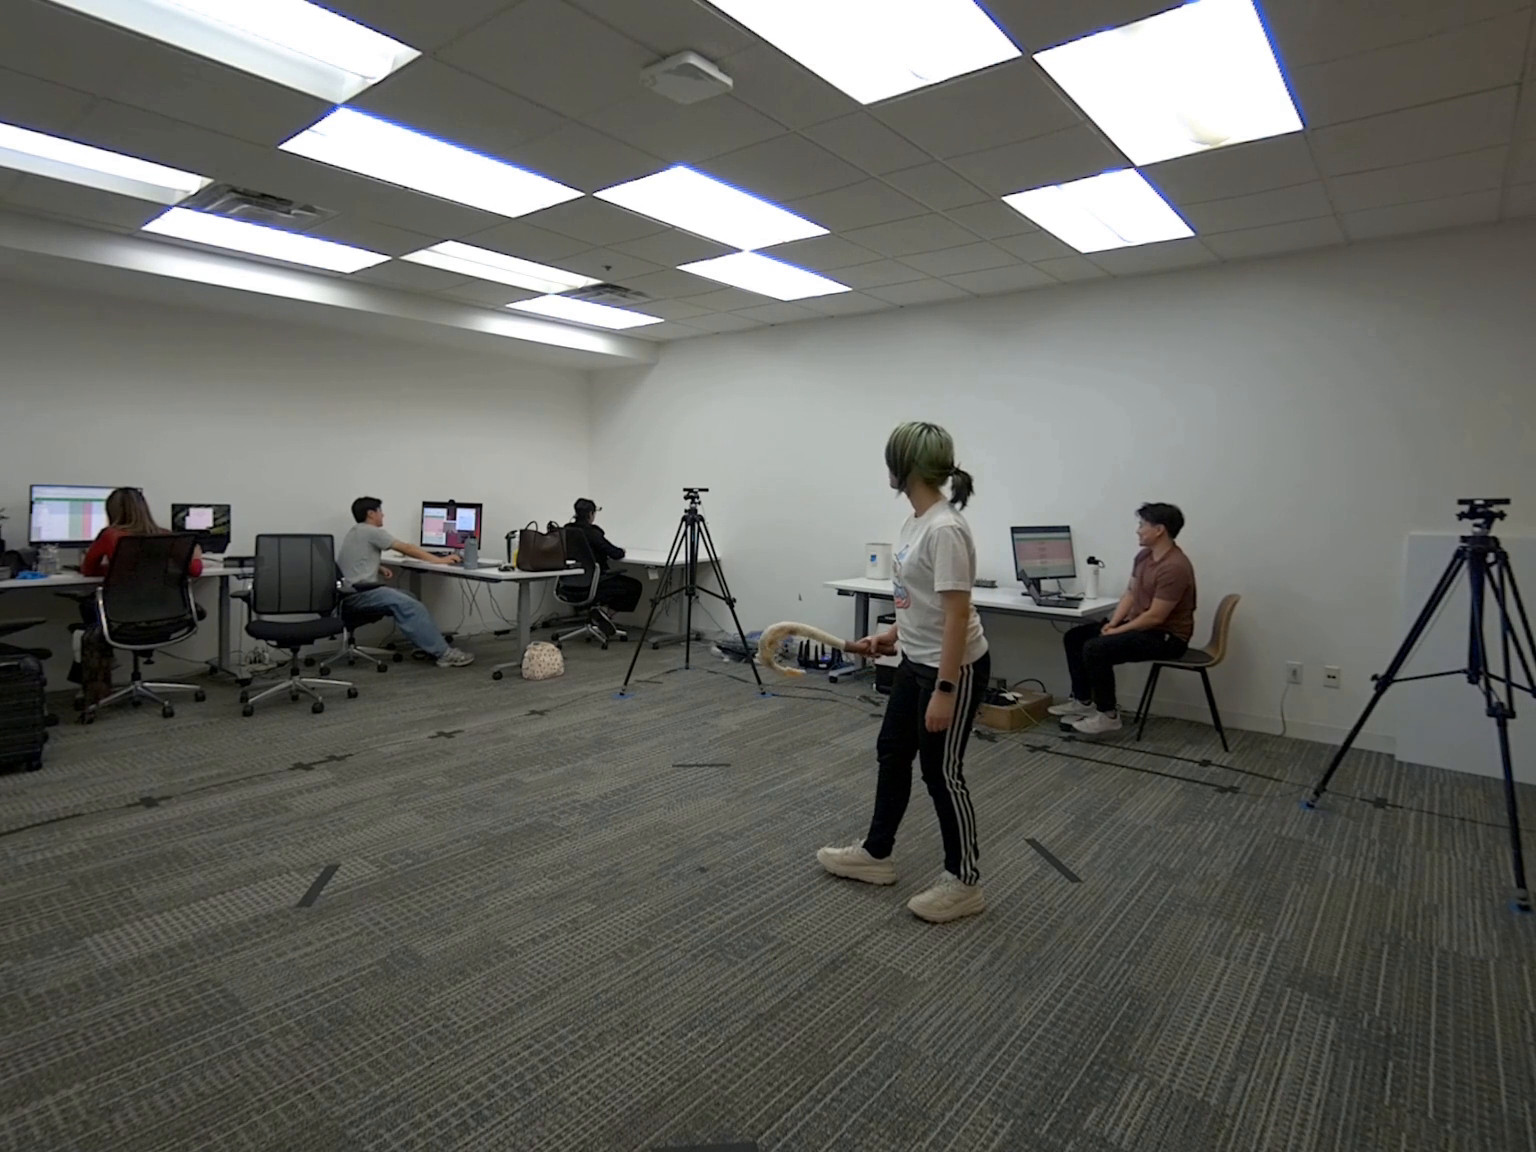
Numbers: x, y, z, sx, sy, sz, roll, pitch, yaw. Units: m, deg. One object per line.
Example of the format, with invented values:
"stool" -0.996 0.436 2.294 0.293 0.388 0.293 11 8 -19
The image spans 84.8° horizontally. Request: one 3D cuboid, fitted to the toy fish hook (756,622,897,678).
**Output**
"toy fish hook" 0.196 0.281 3.057 0.504 0.221 0.049 9 23 -4
